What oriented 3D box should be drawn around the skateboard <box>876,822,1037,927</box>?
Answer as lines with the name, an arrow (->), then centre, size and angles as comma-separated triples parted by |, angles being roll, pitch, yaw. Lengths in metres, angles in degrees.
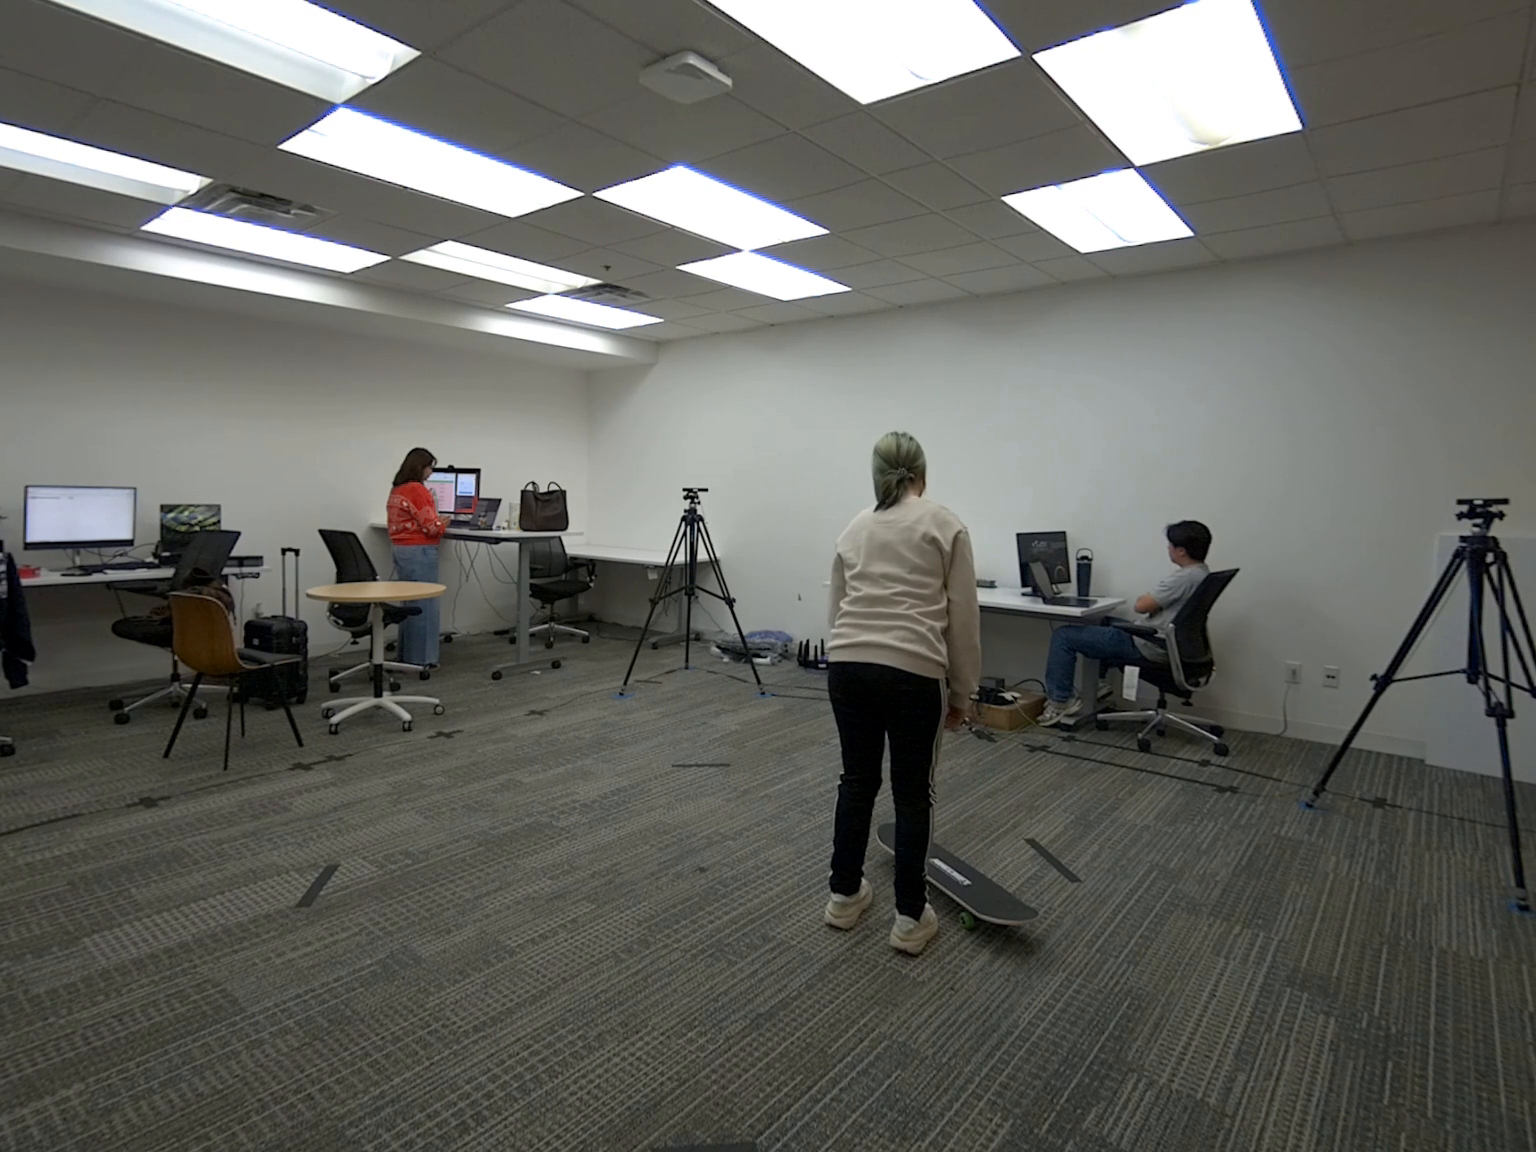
skateboard -> 0.618, 1.045, 2.942 | 0.189, 0.110, 0.806 | -1, 6, -23
